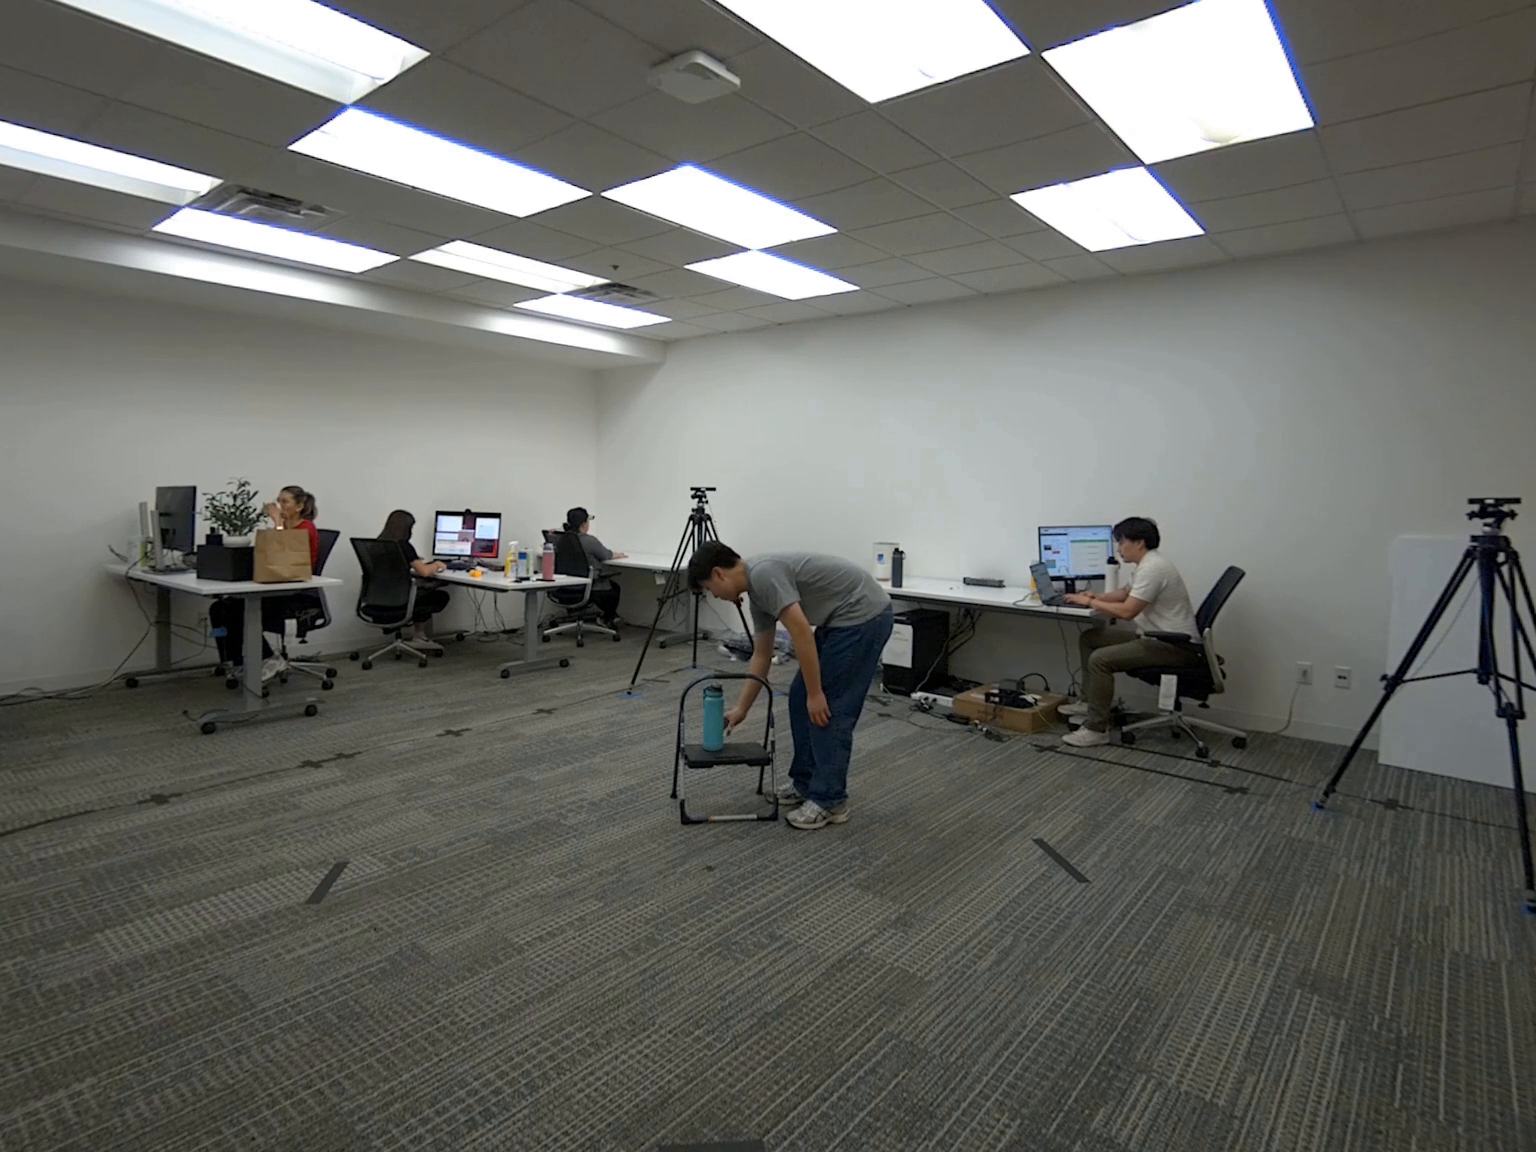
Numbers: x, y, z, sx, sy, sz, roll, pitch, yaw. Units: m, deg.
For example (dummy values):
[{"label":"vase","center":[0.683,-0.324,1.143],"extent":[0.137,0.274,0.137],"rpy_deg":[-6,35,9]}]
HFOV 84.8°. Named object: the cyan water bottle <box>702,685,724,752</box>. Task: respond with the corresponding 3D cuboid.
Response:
[{"label":"cyan water bottle","center":[-0.249,0.604,3.708],"extent":[0.092,0.284,0.092],"rpy_deg":[0,-1,-2]}]
